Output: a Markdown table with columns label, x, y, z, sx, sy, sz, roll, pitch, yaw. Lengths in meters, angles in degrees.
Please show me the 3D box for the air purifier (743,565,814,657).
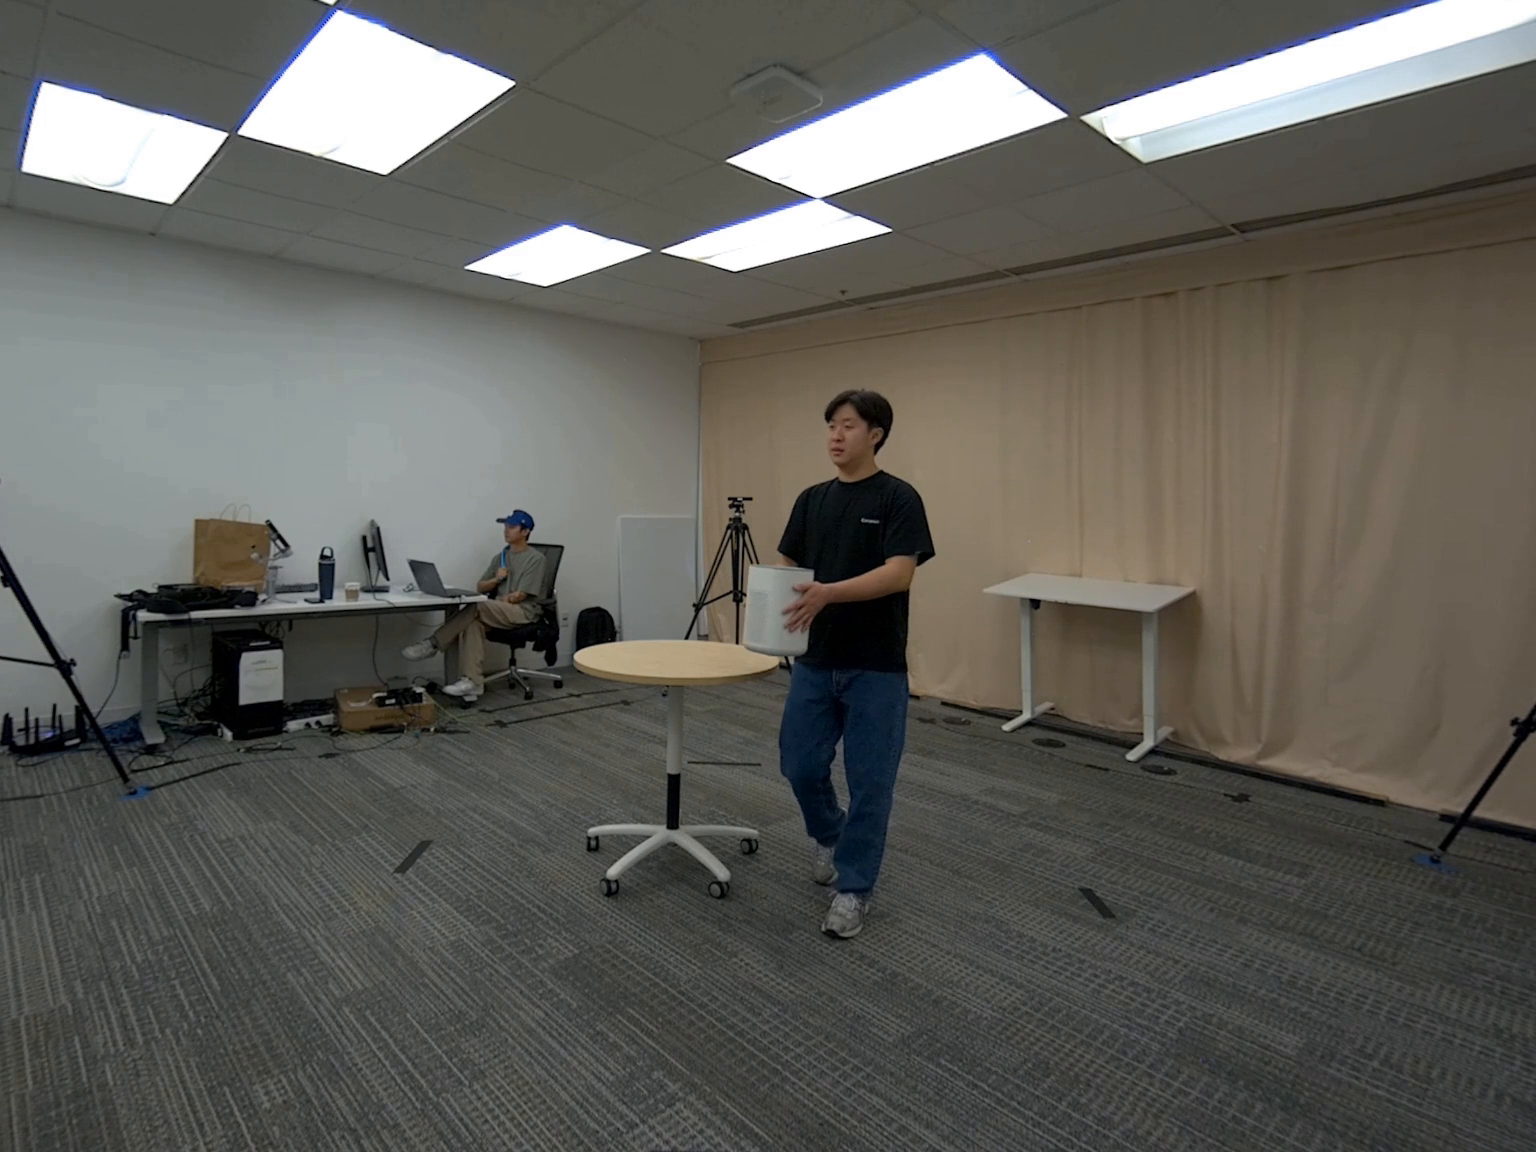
| label | x | y | z | sx | sy | sz | roll | pitch | yaw |
| --- | --- | --- | --- | --- | --- | --- | --- | --- | --- |
| air purifier | 0.028 | 0.106 | 2.581 | 0.167 | 0.265 | 0.176 | 5 | 1 | -44 |
